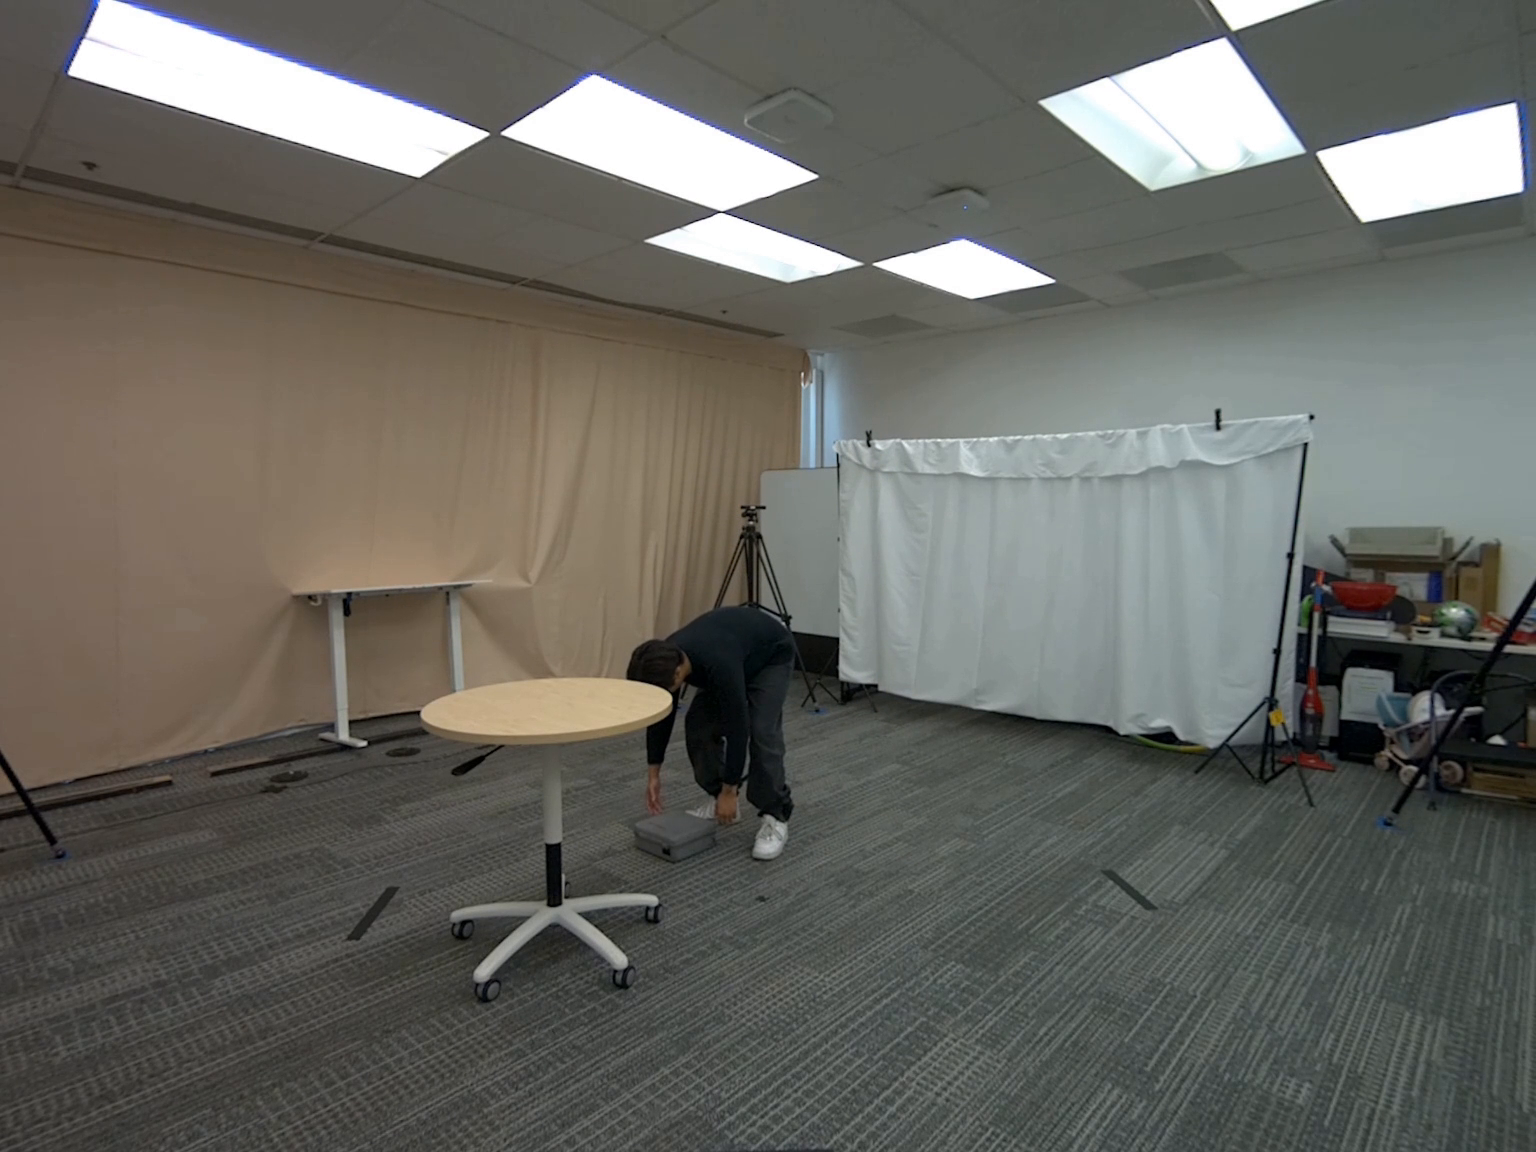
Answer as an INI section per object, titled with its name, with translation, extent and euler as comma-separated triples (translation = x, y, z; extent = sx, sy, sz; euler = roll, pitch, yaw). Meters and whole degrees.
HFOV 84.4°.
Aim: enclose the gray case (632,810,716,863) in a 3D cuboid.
[gray case]
translation = -0.382, 1.048, 3.450
extent = 0.265, 0.104, 0.253
euler = 2, 5, 43
